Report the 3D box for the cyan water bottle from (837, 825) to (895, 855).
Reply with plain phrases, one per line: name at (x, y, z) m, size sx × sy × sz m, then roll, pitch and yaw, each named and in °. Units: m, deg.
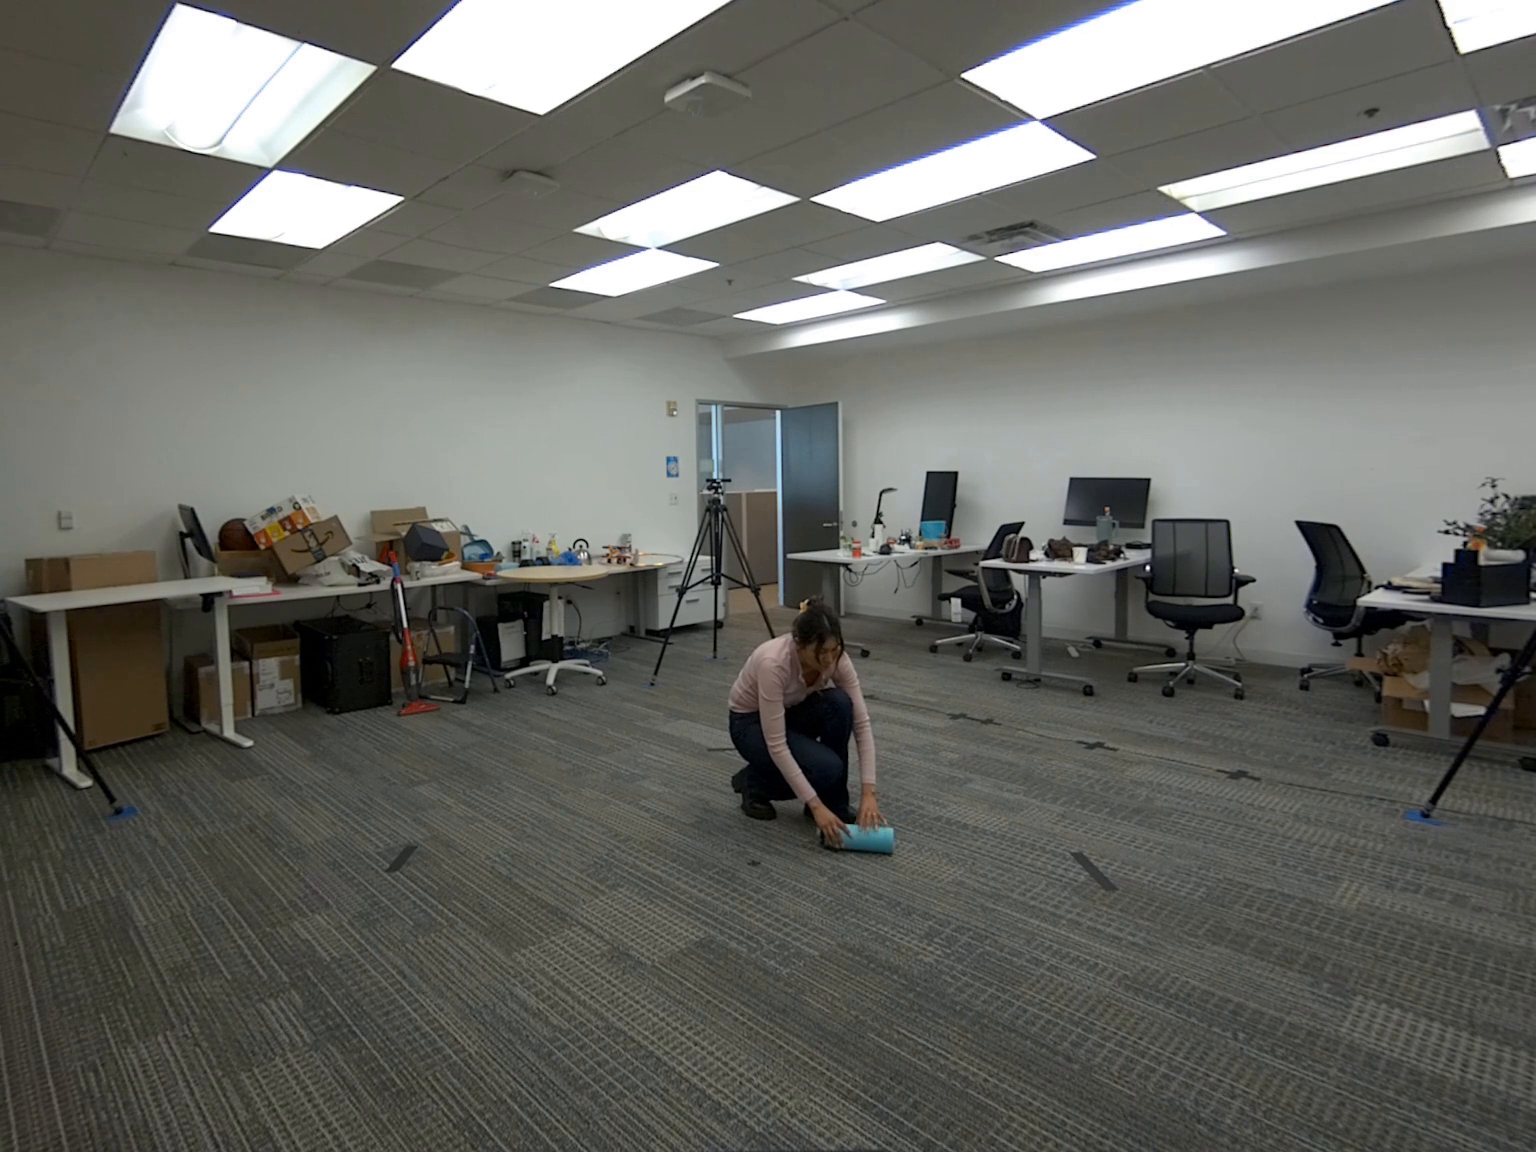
cyan water bottle at (0.334, 0.986, 3.206) m, size 0.286 × 0.092 × 0.091 m, roll -2°, pitch 5°, yaw 11°
